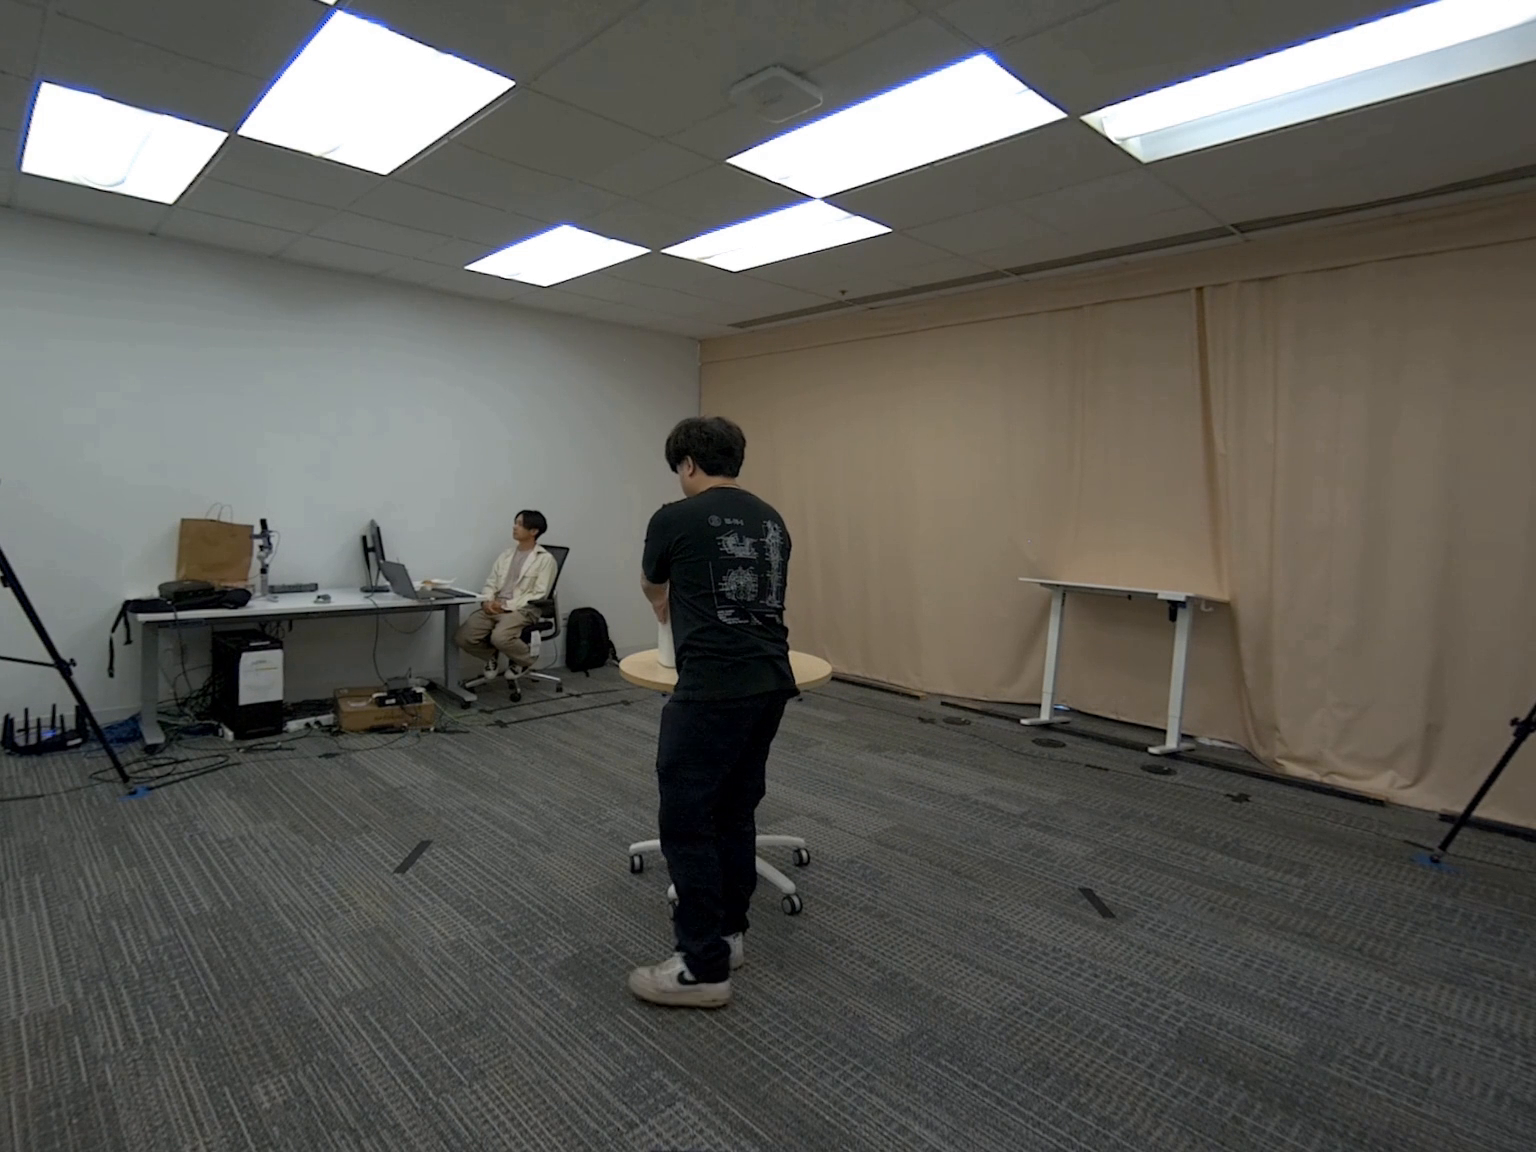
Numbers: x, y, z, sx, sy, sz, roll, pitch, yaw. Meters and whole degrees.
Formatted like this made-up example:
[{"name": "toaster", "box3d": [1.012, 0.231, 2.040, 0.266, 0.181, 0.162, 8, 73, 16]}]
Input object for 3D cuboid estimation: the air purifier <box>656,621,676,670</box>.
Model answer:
[{"name": "air purifier", "box3d": [-0.311, 0.188, 3.036, 0.168, 0.265, 0.175, 0, 4, -21]}]
